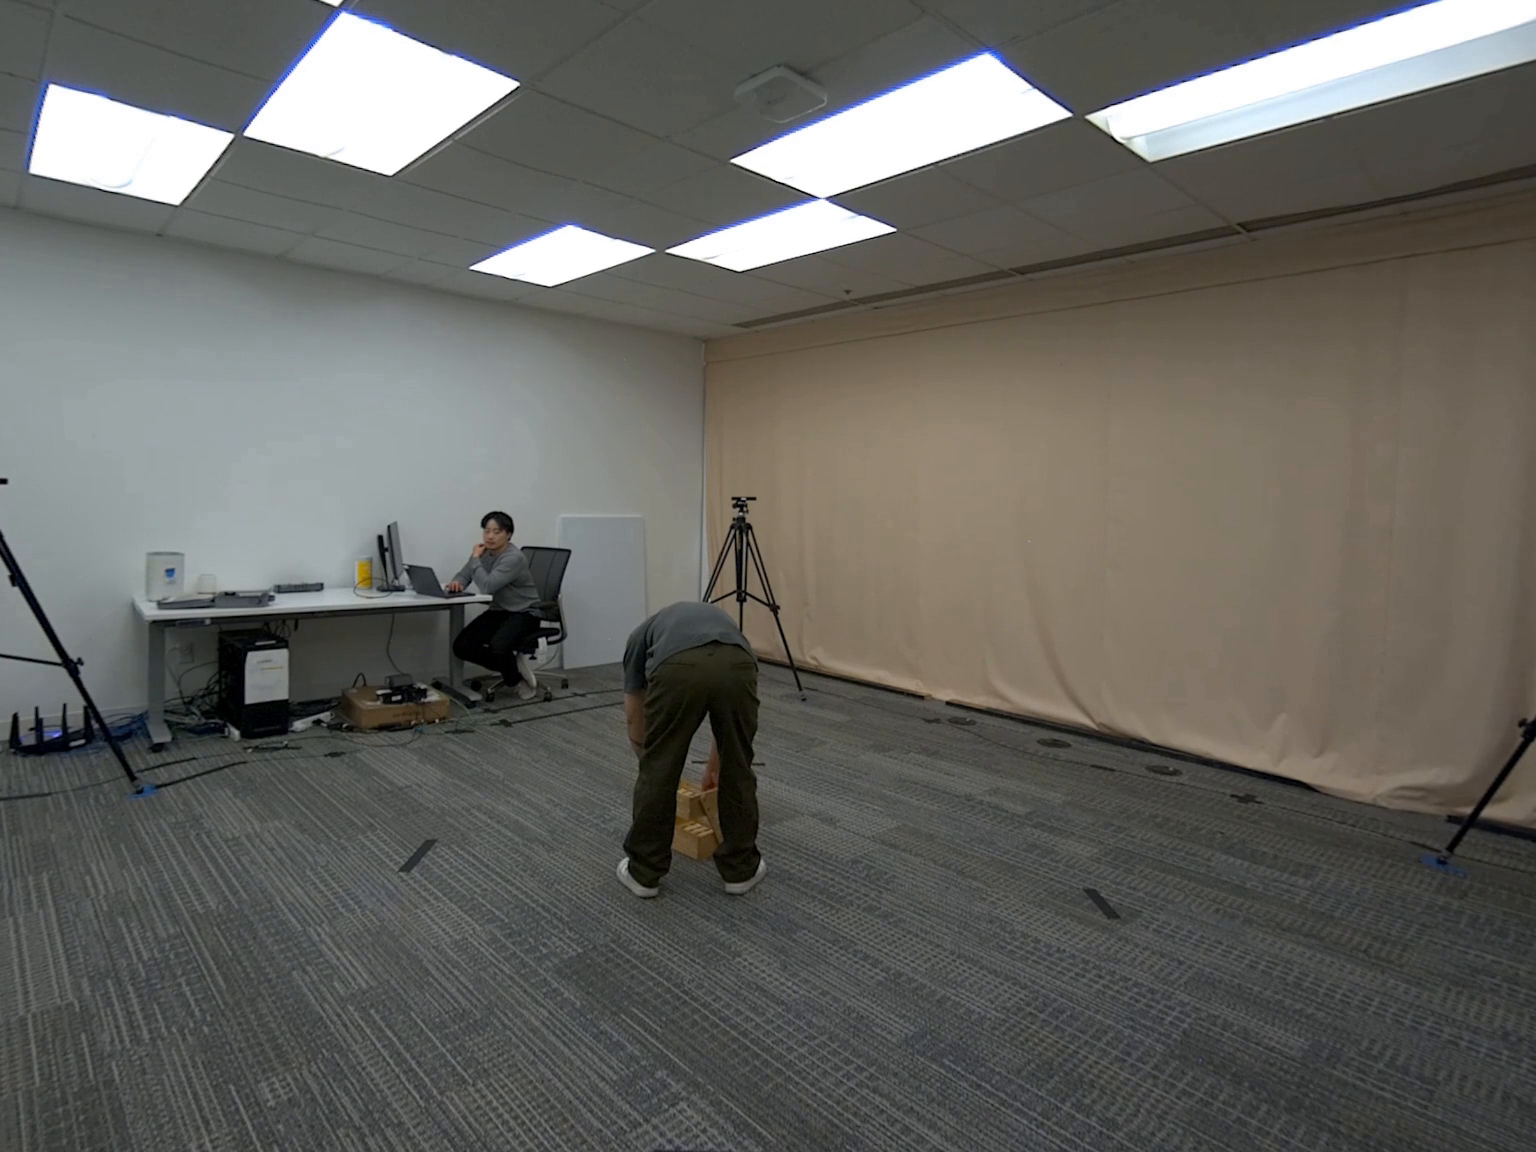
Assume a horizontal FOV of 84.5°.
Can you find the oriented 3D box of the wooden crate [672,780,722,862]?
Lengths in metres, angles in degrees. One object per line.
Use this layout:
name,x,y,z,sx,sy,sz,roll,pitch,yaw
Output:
wooden crate,-0.310,0.942,3.394,0.333,0.272,0.295,5,6,44
